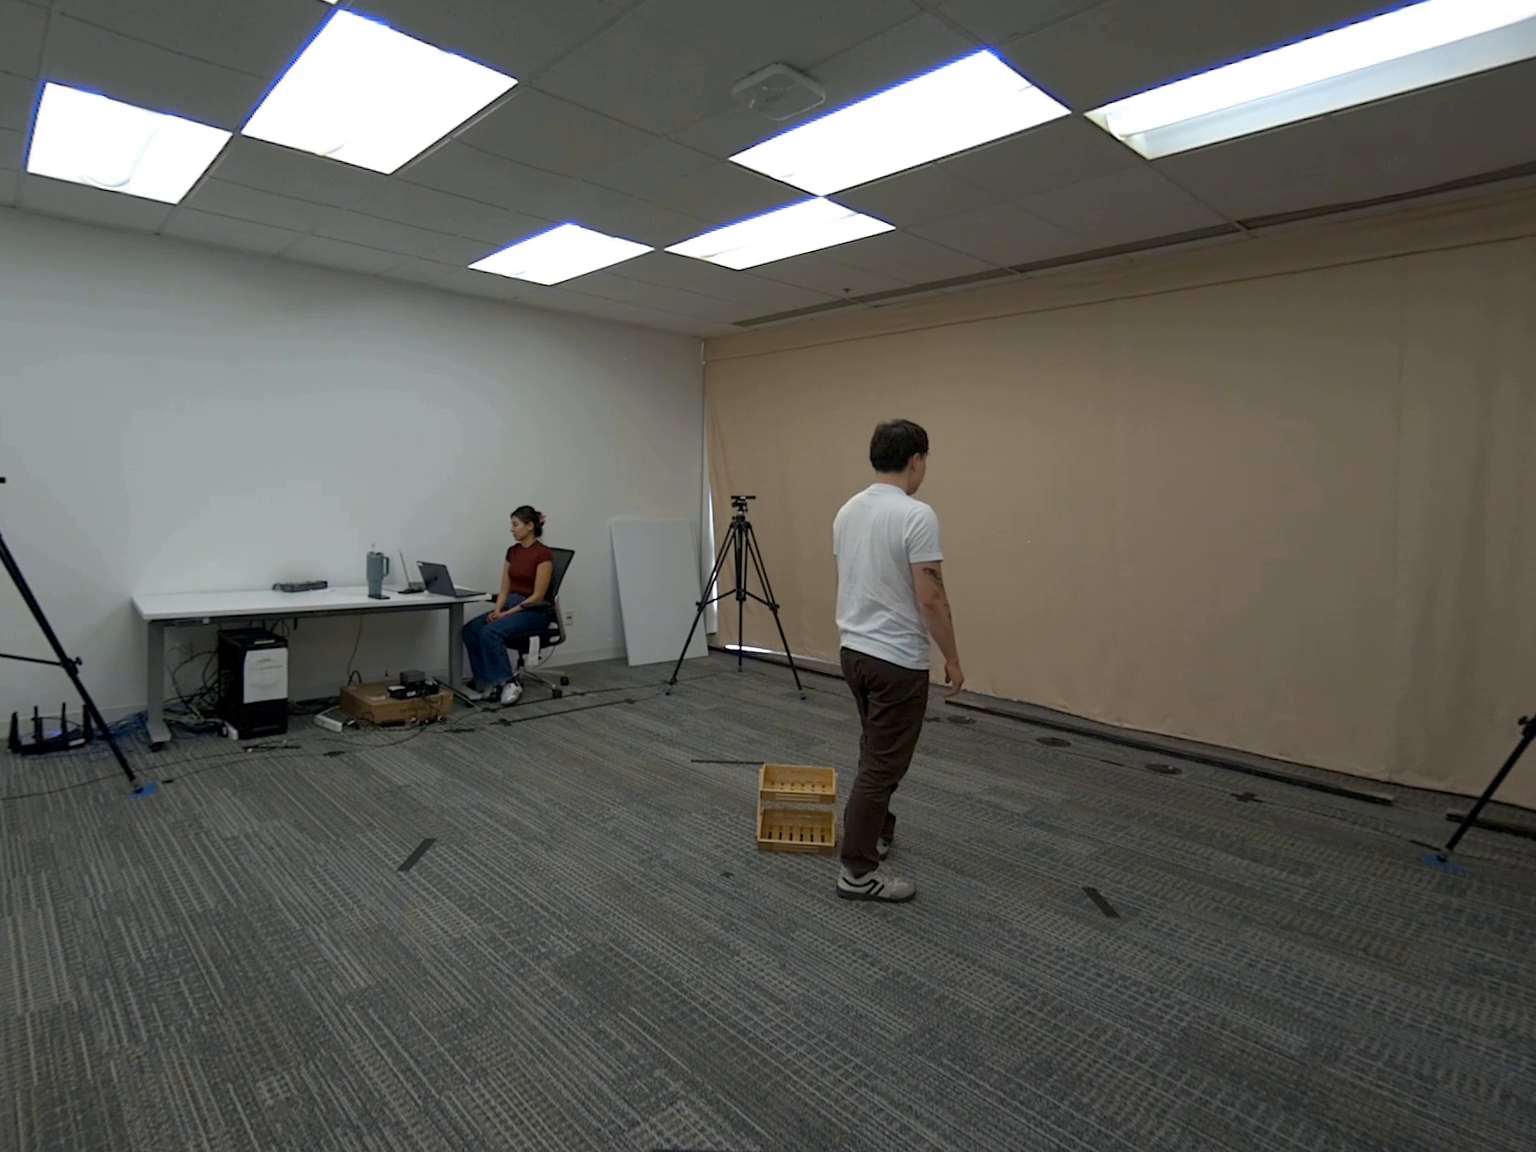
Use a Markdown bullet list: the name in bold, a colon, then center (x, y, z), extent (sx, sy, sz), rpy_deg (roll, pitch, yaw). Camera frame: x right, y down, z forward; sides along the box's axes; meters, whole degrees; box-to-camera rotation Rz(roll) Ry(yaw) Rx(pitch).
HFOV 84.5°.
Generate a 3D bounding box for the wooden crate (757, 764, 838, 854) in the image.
- **wooden crate**: center (0.114, 0.946, 3.430), extent (0.326, 0.272, 0.302), rpy_deg (2, 4, 4)
